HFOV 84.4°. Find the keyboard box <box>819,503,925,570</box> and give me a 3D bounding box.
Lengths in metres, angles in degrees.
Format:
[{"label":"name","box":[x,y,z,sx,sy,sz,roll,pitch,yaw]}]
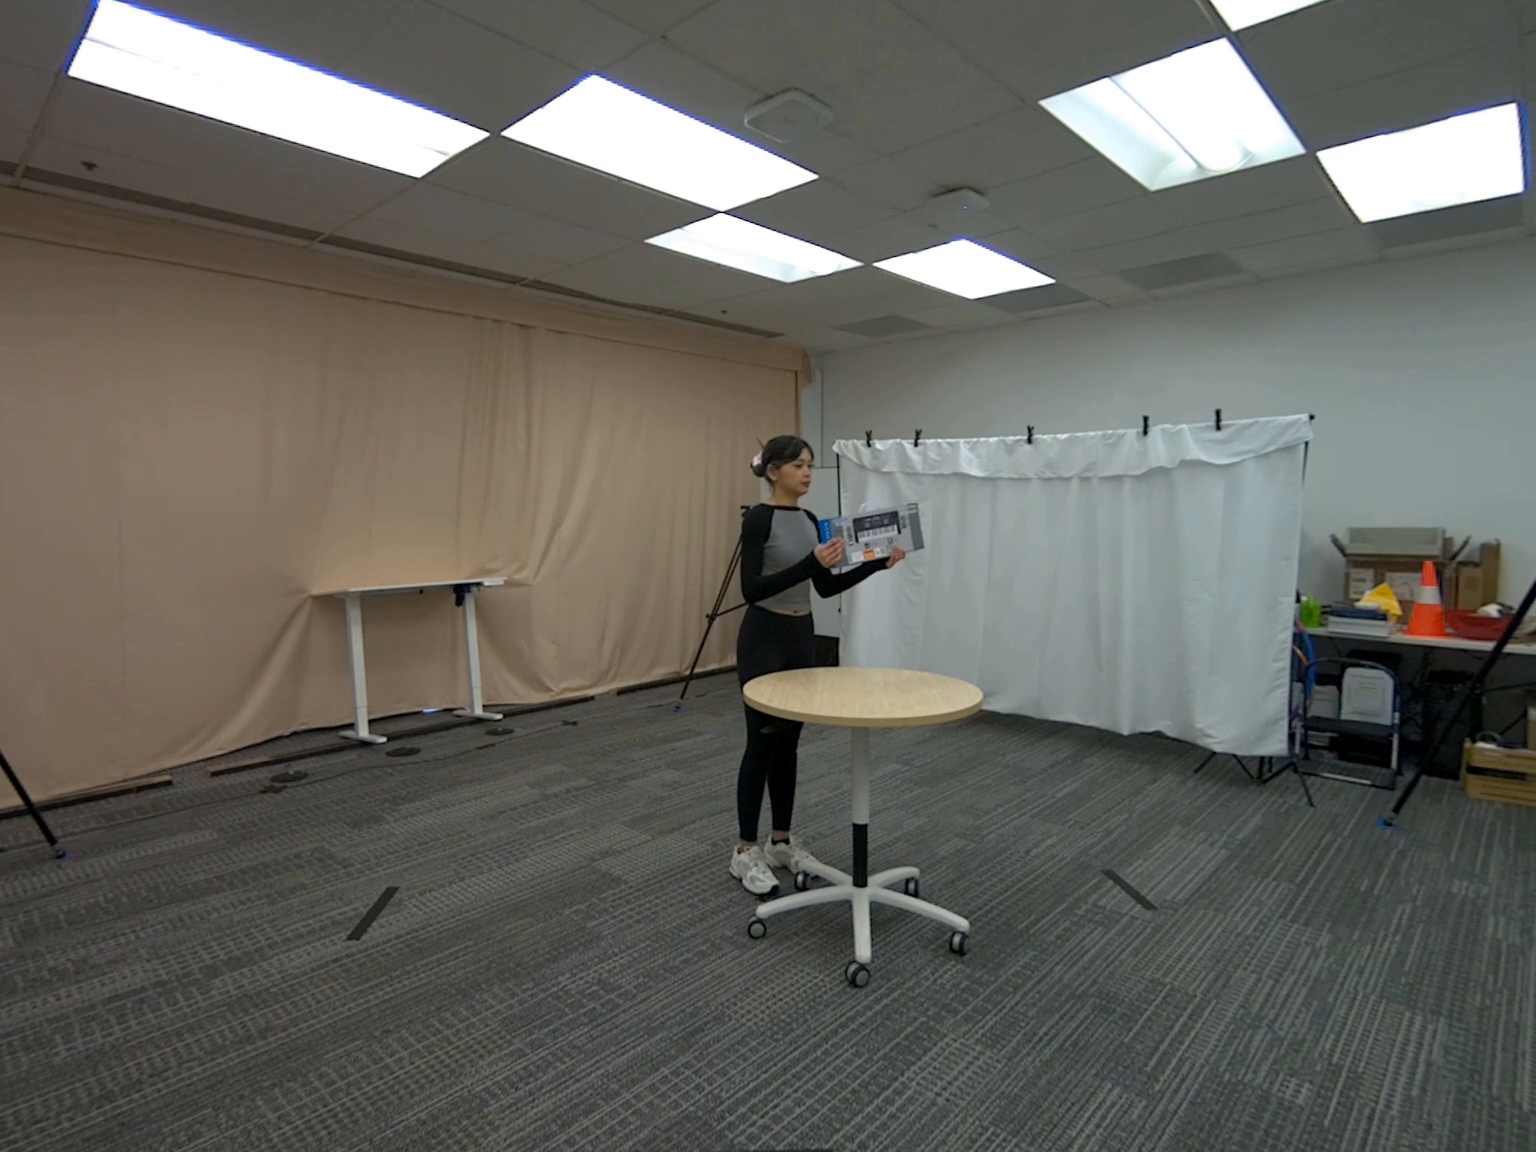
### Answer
[{"label":"keyboard box","box":[0.371,-0.145,3.001,0.426,0.175,0.061,-13,4,-35]}]
